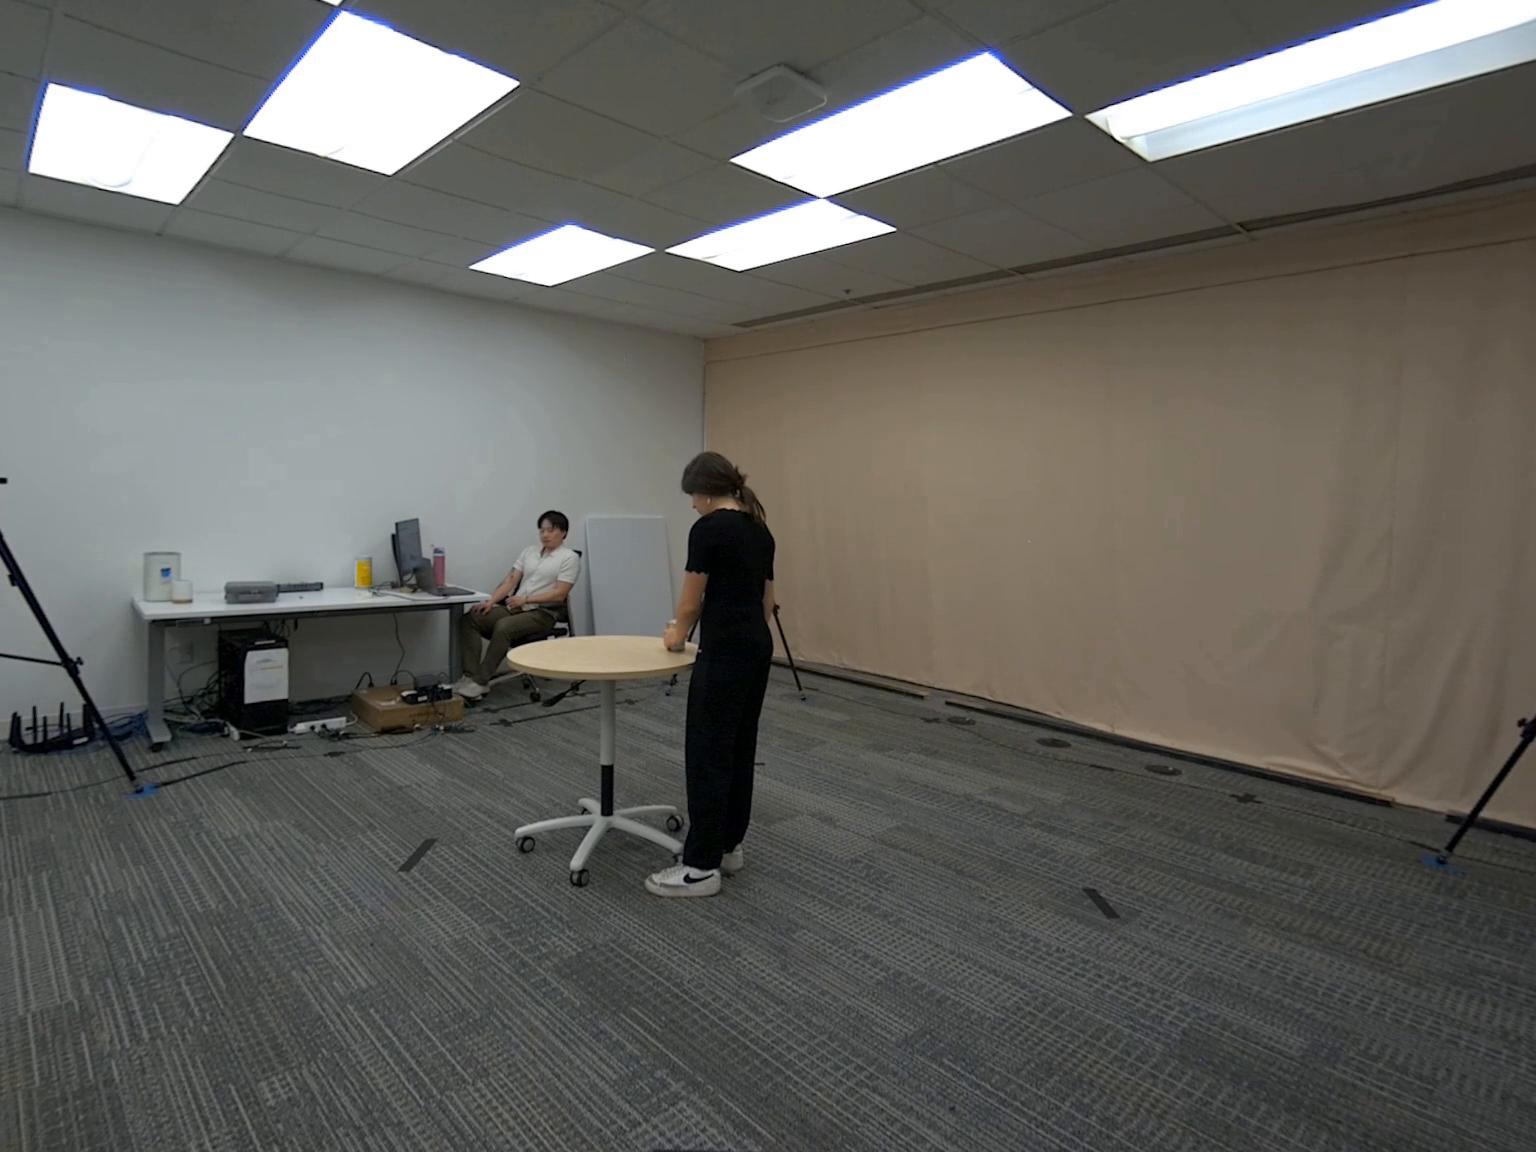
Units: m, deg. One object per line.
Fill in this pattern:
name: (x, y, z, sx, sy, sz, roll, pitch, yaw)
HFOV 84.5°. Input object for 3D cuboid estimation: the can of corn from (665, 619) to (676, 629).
can of corn: (-0.361, 0.236, 3.341, 0.074, 0.111, 0.074, -1, 3, -1)
